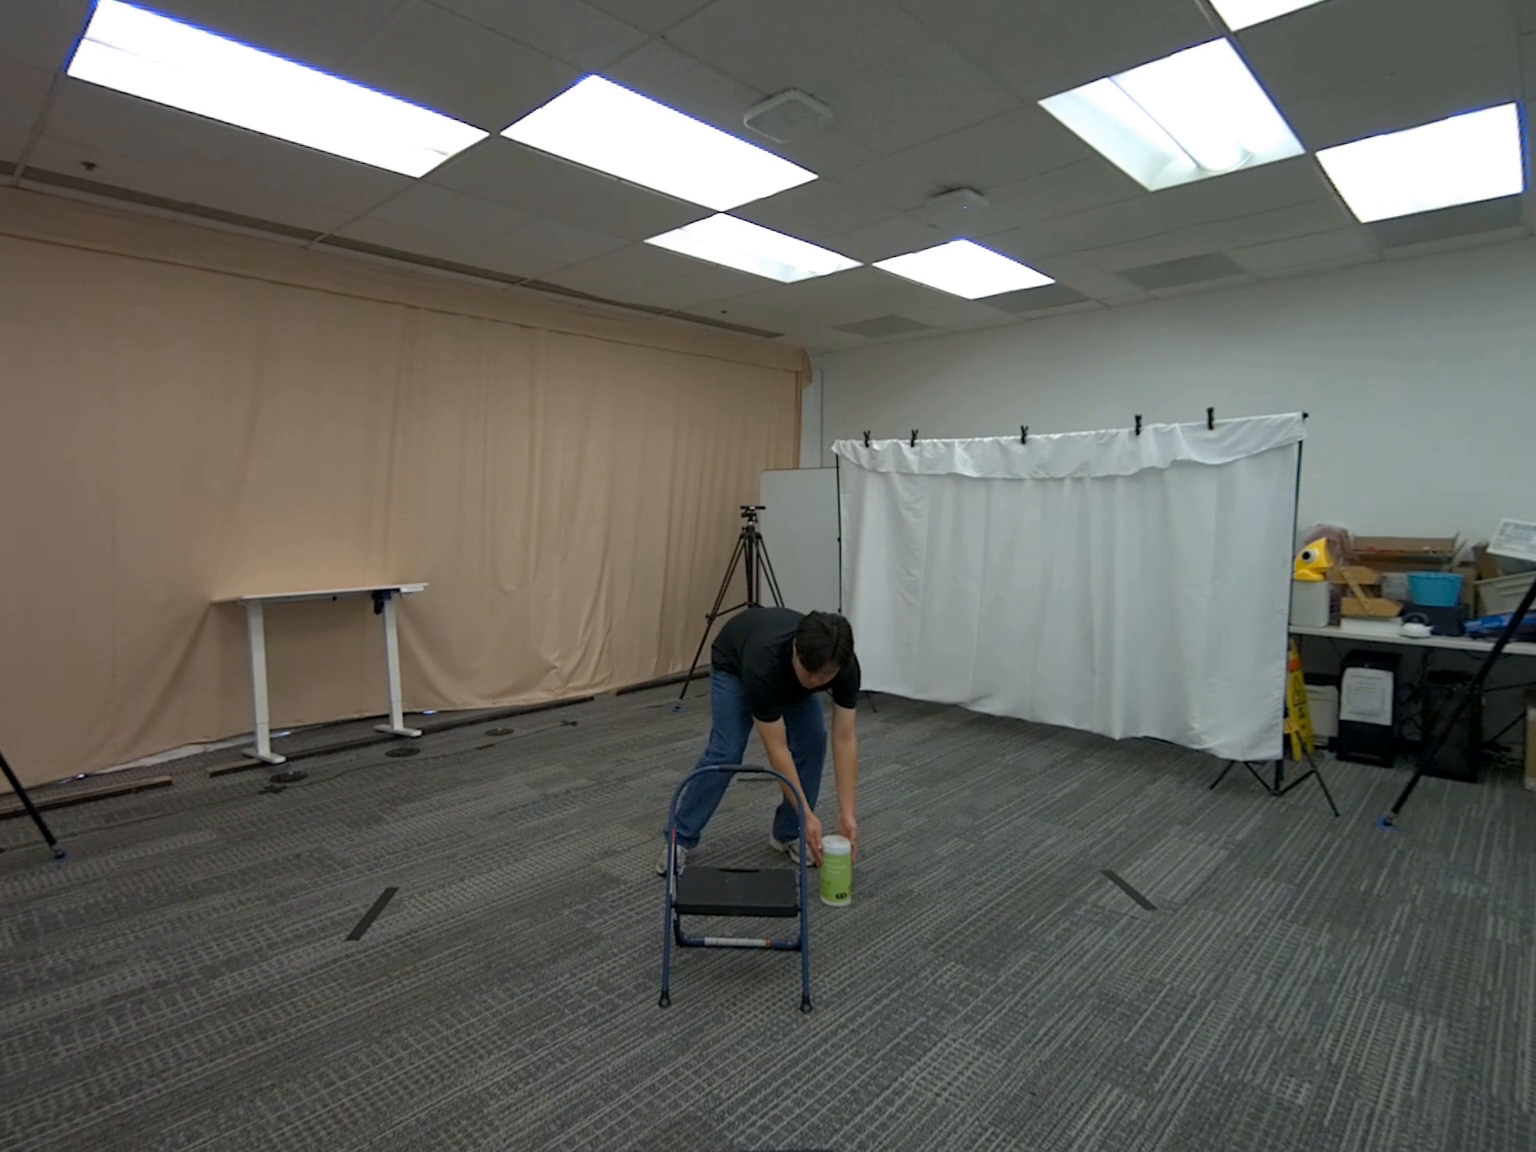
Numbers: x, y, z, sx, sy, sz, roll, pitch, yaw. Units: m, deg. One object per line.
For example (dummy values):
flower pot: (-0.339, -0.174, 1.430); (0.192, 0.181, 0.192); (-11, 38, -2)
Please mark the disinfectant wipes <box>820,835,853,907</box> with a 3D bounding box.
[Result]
disinfectant wipes: (0.240, 1.040, 2.963); (0.118, 0.217, 0.118); (-2, 5, -2)
